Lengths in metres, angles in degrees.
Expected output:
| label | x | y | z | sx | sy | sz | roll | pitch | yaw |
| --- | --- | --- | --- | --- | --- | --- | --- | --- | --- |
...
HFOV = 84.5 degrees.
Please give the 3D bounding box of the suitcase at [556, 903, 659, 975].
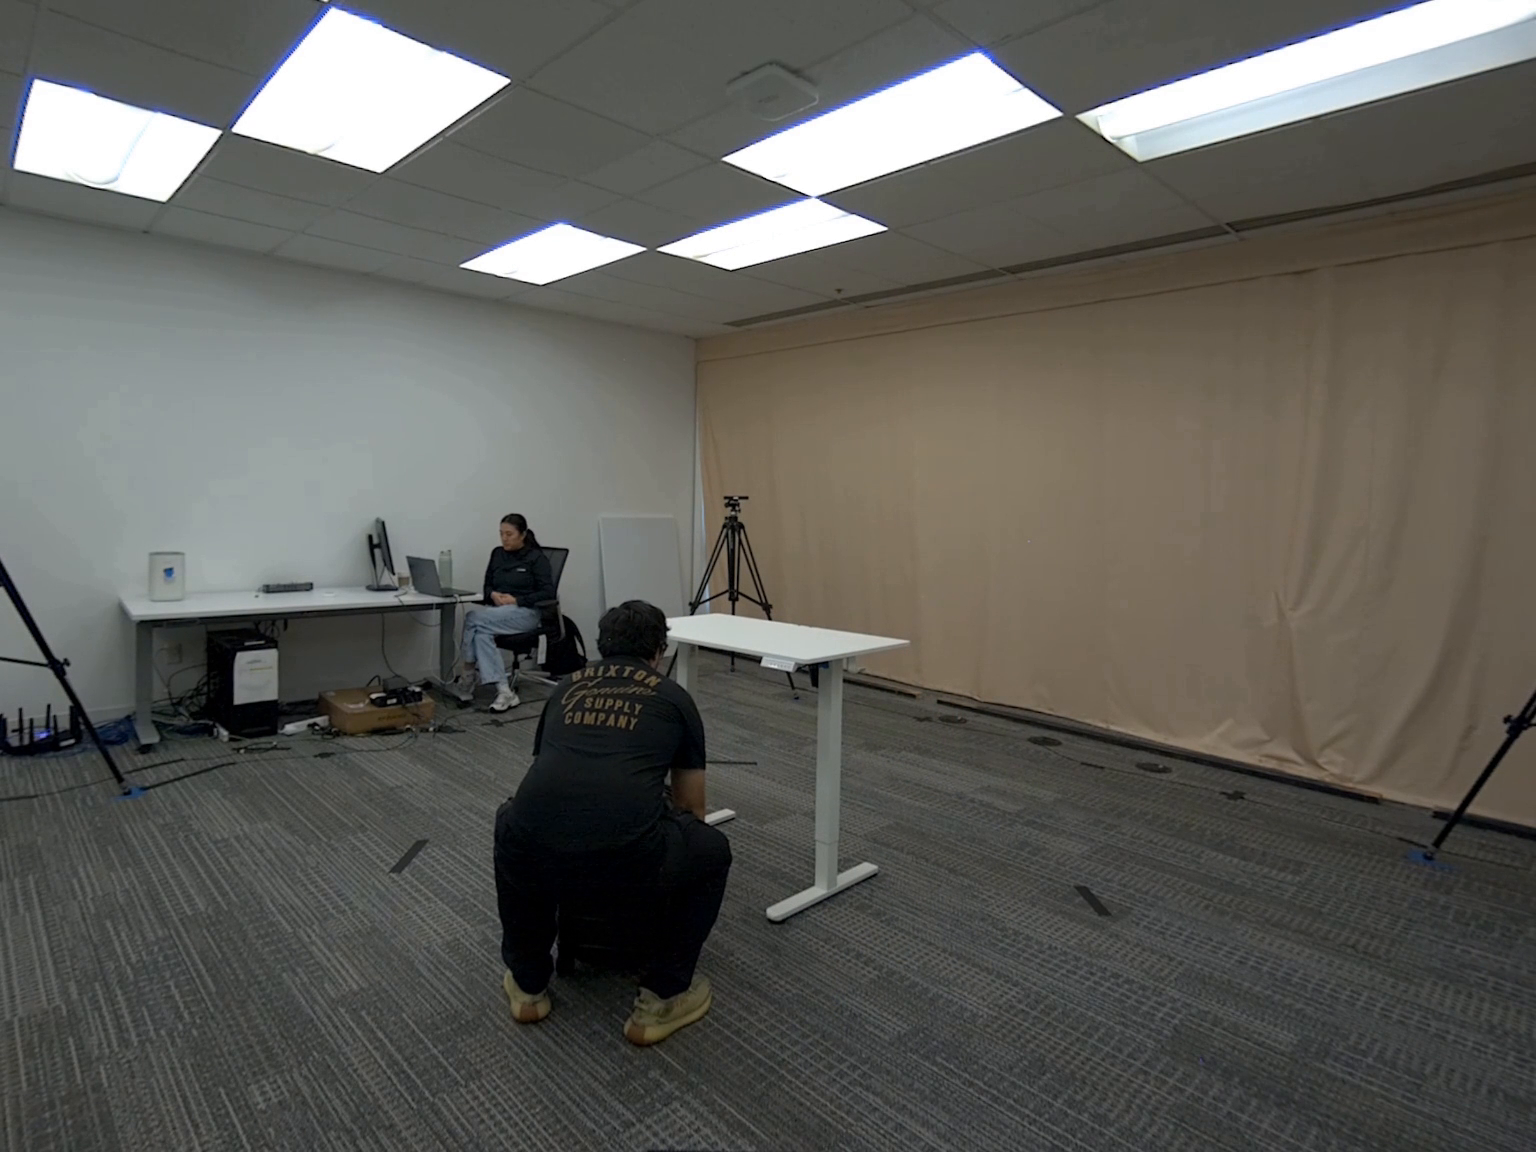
| label | x | y | z | sx | sy | sz | roll | pitch | yaw |
| --- | --- | --- | --- | --- | --- | --- | --- | --- | --- |
| suitcase | -0.440 | 0.882 | 2.496 | 0.377 | 0.547 | 0.248 | 1 | 5 | 7 |
